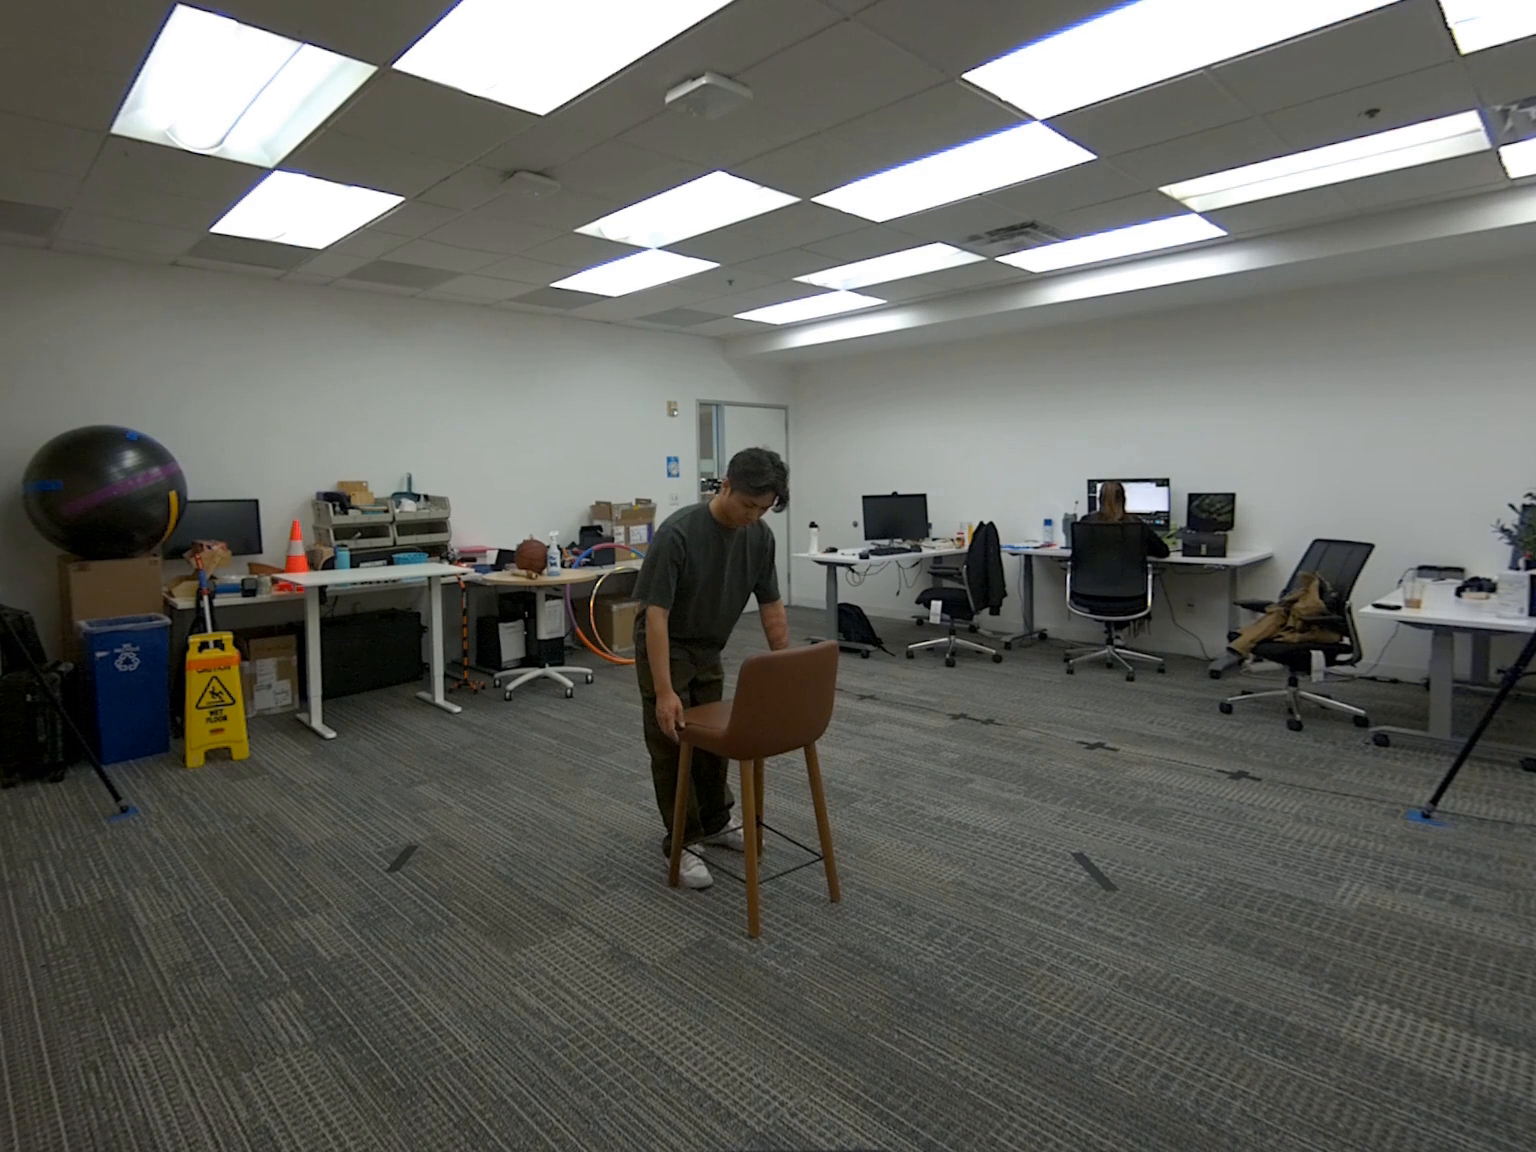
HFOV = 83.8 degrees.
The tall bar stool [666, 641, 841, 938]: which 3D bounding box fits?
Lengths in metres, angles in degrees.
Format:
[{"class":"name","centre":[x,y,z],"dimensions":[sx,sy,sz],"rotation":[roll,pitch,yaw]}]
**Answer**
[{"class":"tall bar stool","centre":[-0.044,0.631,2.858],"dimensions":[0.445,0.885,0.482],"rotation":[-4,7,-38]}]
